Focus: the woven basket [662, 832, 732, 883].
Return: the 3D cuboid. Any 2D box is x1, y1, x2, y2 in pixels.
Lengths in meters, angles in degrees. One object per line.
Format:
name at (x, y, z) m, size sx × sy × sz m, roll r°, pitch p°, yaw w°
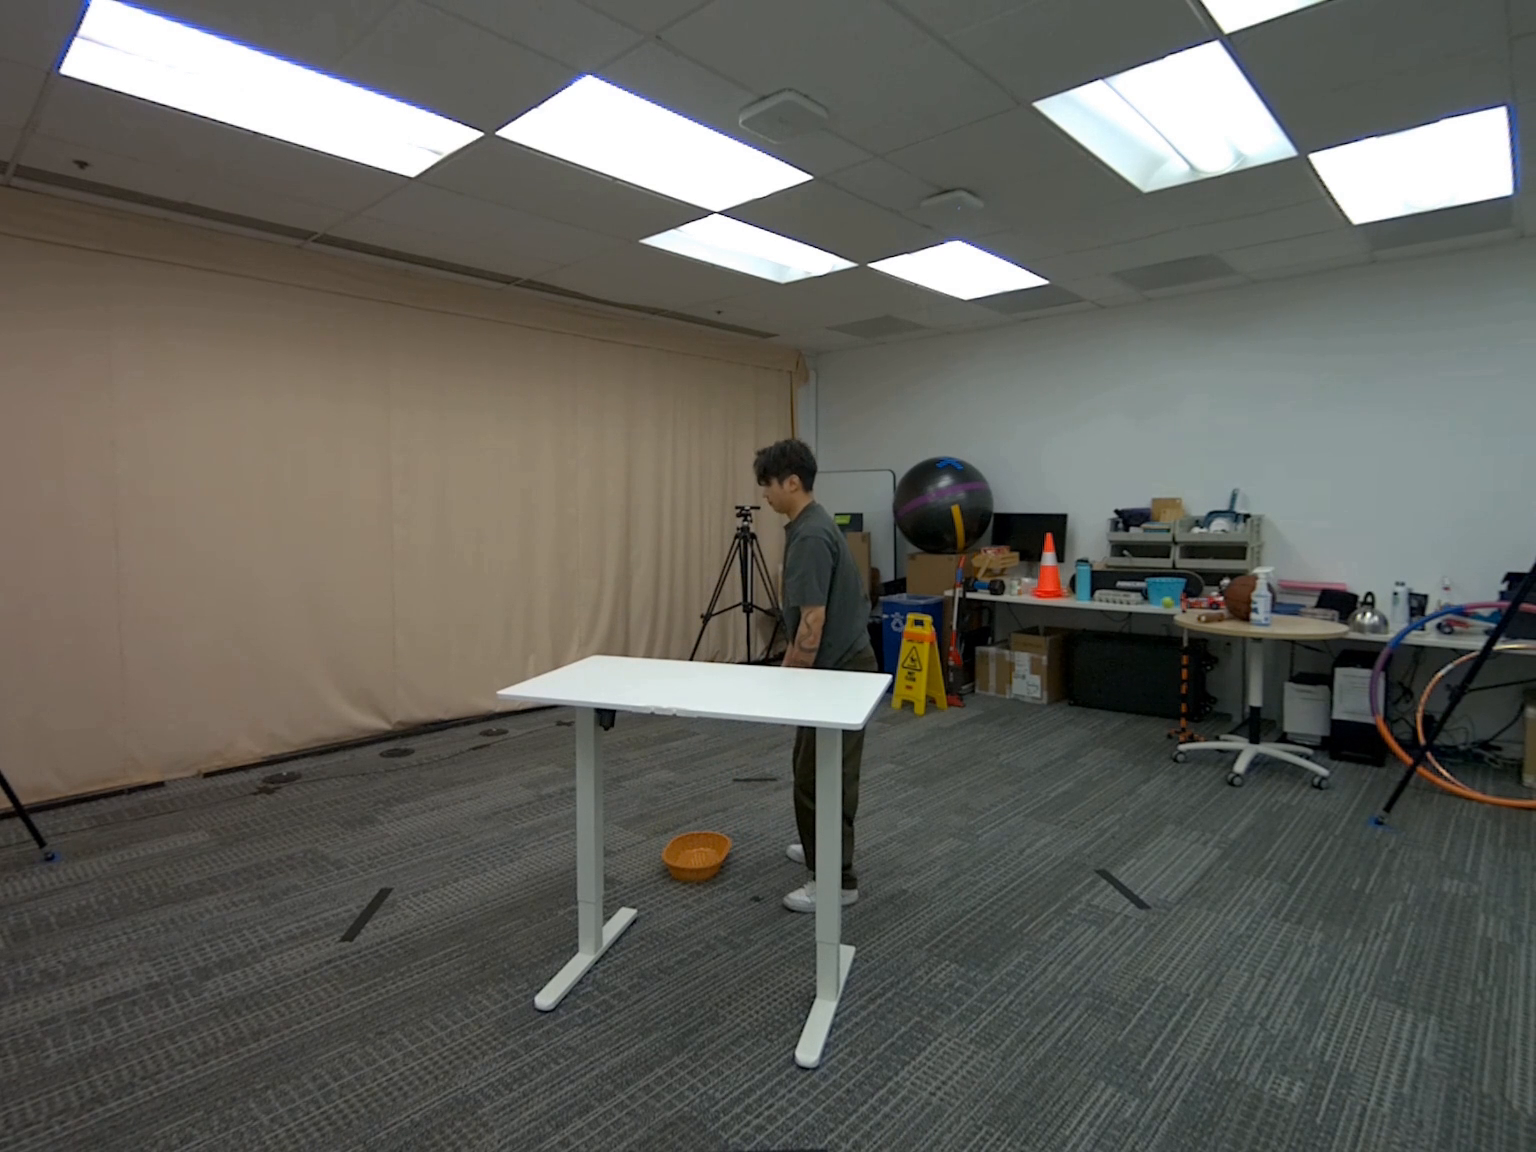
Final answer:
woven basket at (-0.275, 1.087, 3.260) m, size 0.256 × 0.073 × 0.346 m, roll 0°, pitch 5°, yaw 14°
